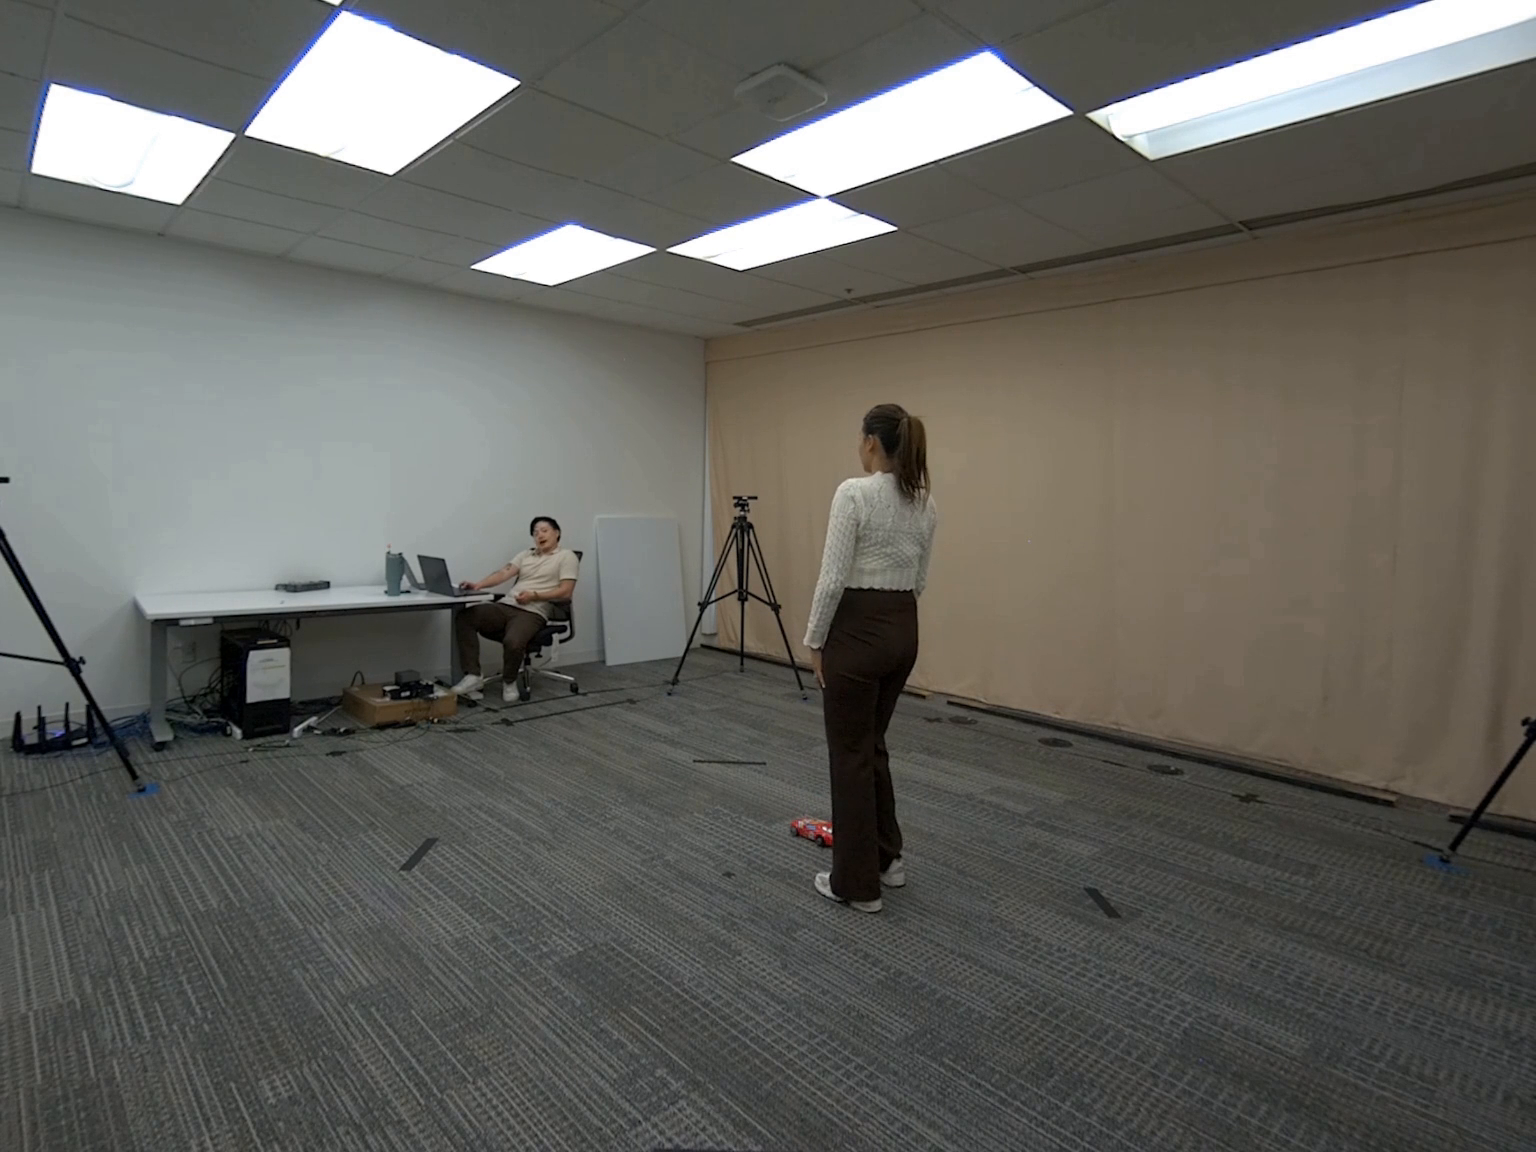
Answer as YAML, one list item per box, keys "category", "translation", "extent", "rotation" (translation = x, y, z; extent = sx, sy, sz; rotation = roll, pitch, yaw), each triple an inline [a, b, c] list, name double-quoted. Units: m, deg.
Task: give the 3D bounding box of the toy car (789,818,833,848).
- category: "toy car"
  translation: [0.196, 1.050, 3.446]
  extent: [0.127, 0.083, 0.259]
  rotation: [-2, -5, -43]
